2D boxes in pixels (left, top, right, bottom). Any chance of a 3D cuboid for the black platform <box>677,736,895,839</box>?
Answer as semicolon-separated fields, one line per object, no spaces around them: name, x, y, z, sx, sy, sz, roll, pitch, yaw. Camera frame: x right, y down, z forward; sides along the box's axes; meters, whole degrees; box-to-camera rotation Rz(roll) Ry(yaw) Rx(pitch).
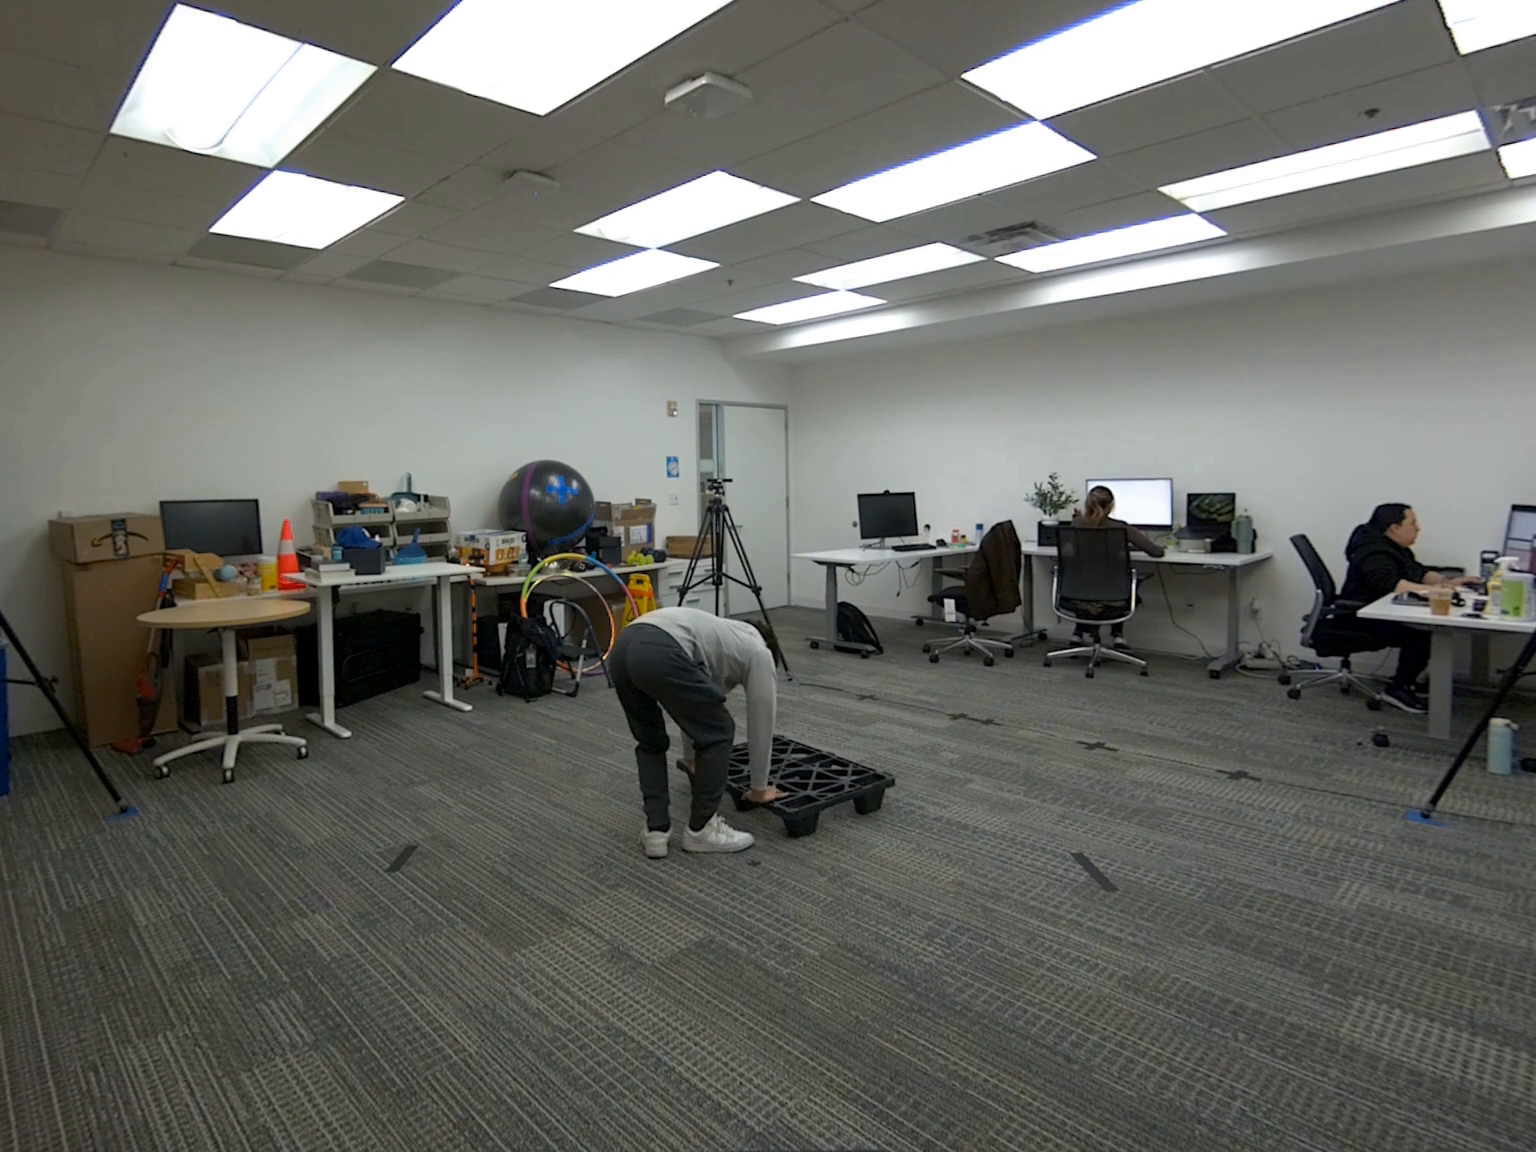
black platform;0.060;0.901;3.746;0.589;0.143;0.830;-5;8;-38
